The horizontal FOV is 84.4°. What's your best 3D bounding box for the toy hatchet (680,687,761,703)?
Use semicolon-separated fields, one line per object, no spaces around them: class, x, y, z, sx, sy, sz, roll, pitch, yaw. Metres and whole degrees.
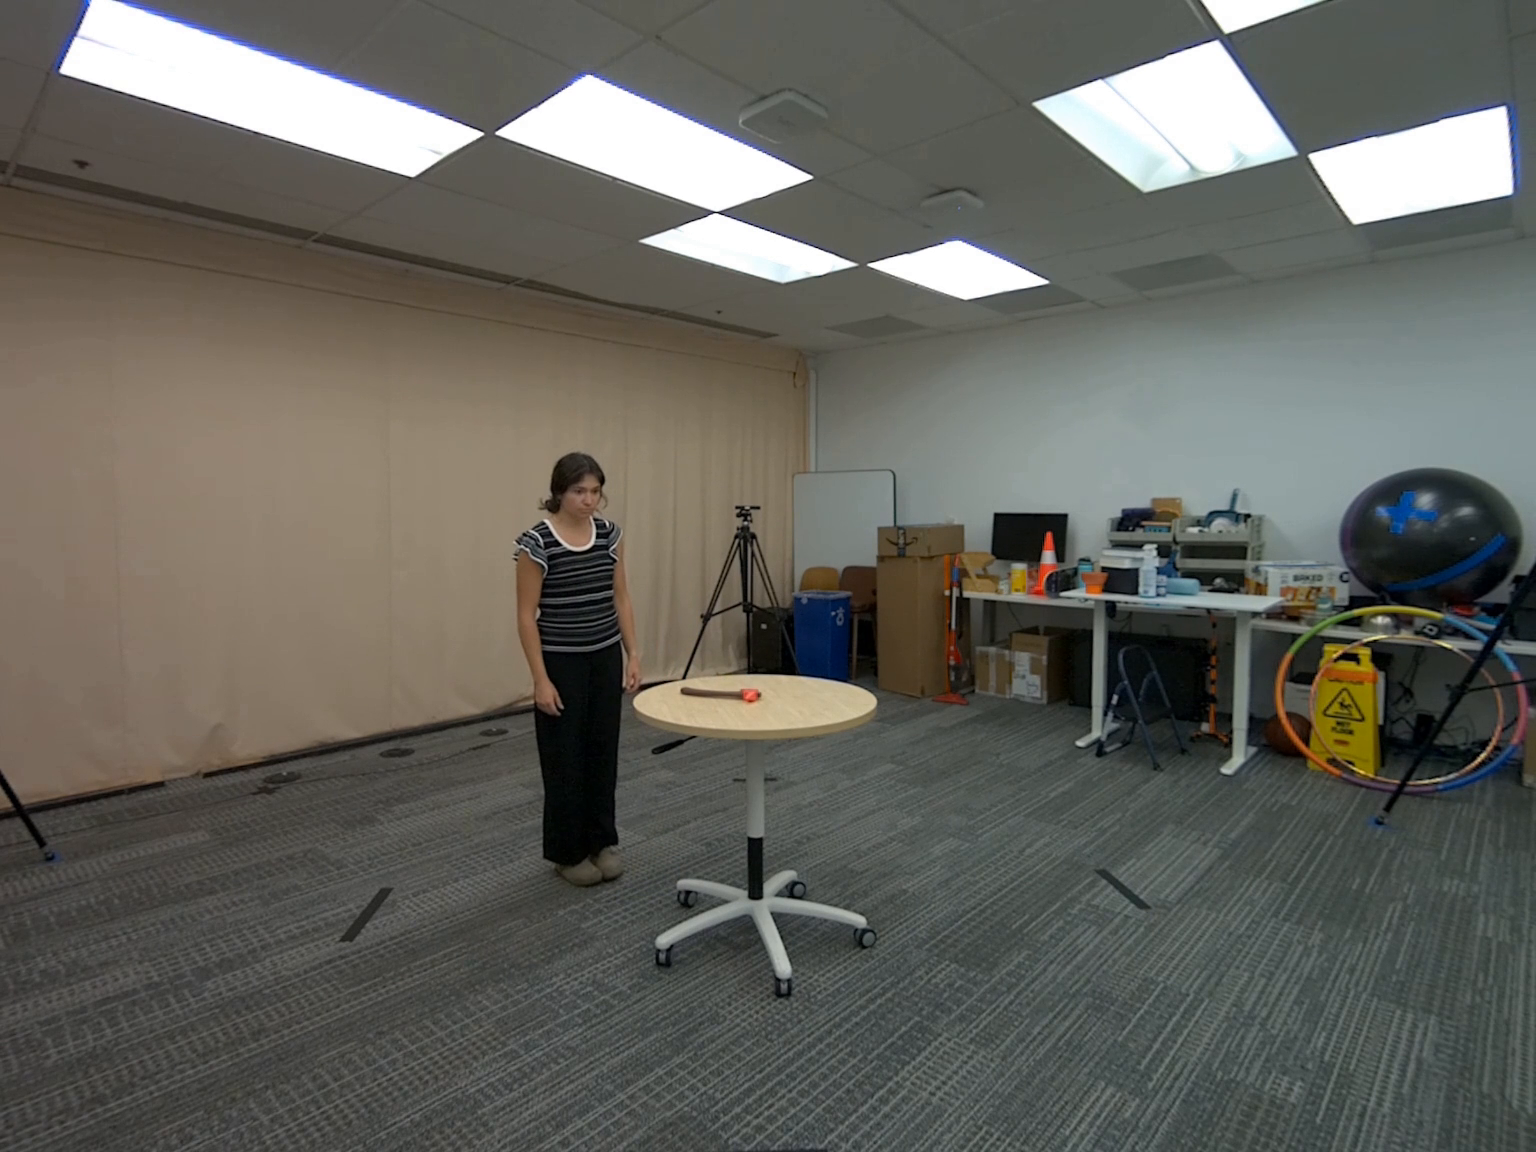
toy hatchet;-0.142;0.375;2.698;0.278;0.029;0.127;1;4;33
